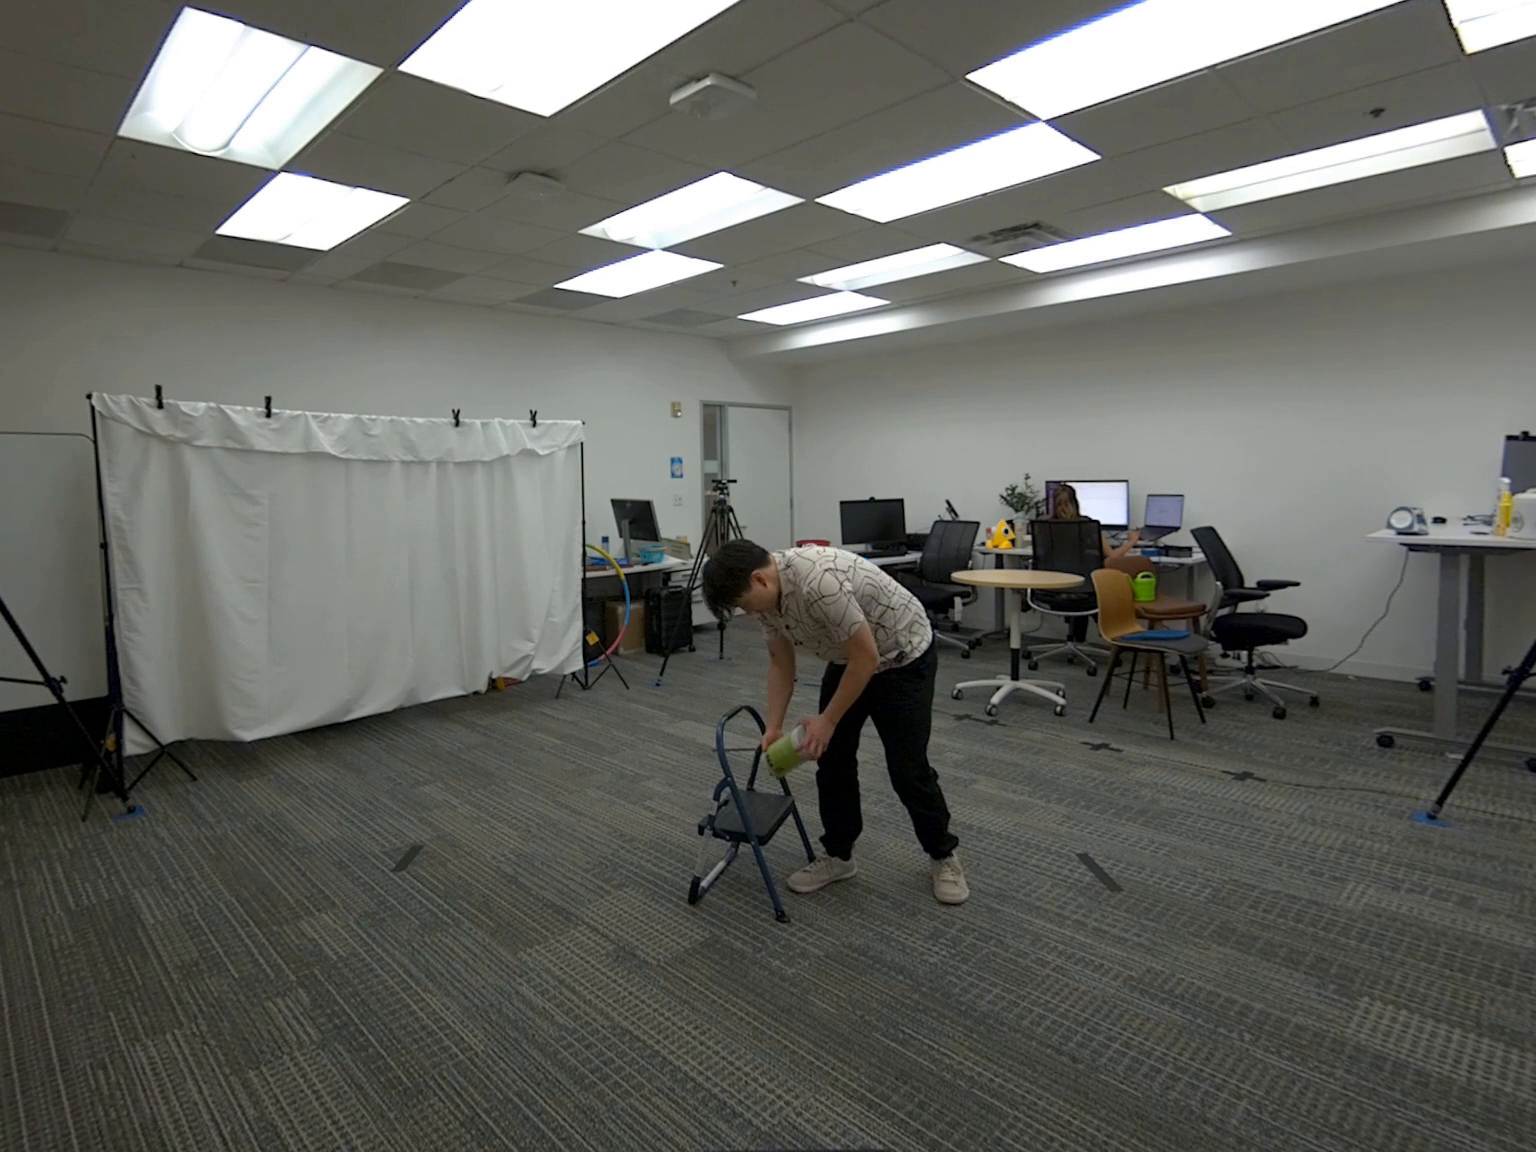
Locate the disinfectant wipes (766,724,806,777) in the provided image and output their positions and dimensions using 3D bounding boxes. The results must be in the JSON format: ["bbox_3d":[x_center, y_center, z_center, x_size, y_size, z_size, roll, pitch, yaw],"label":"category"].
[{"bbox_3d":[0.085,0.574,2.809,0.115,0.121,0.217,-4,-28,-34],"label":"disinfectant wipes"}]
